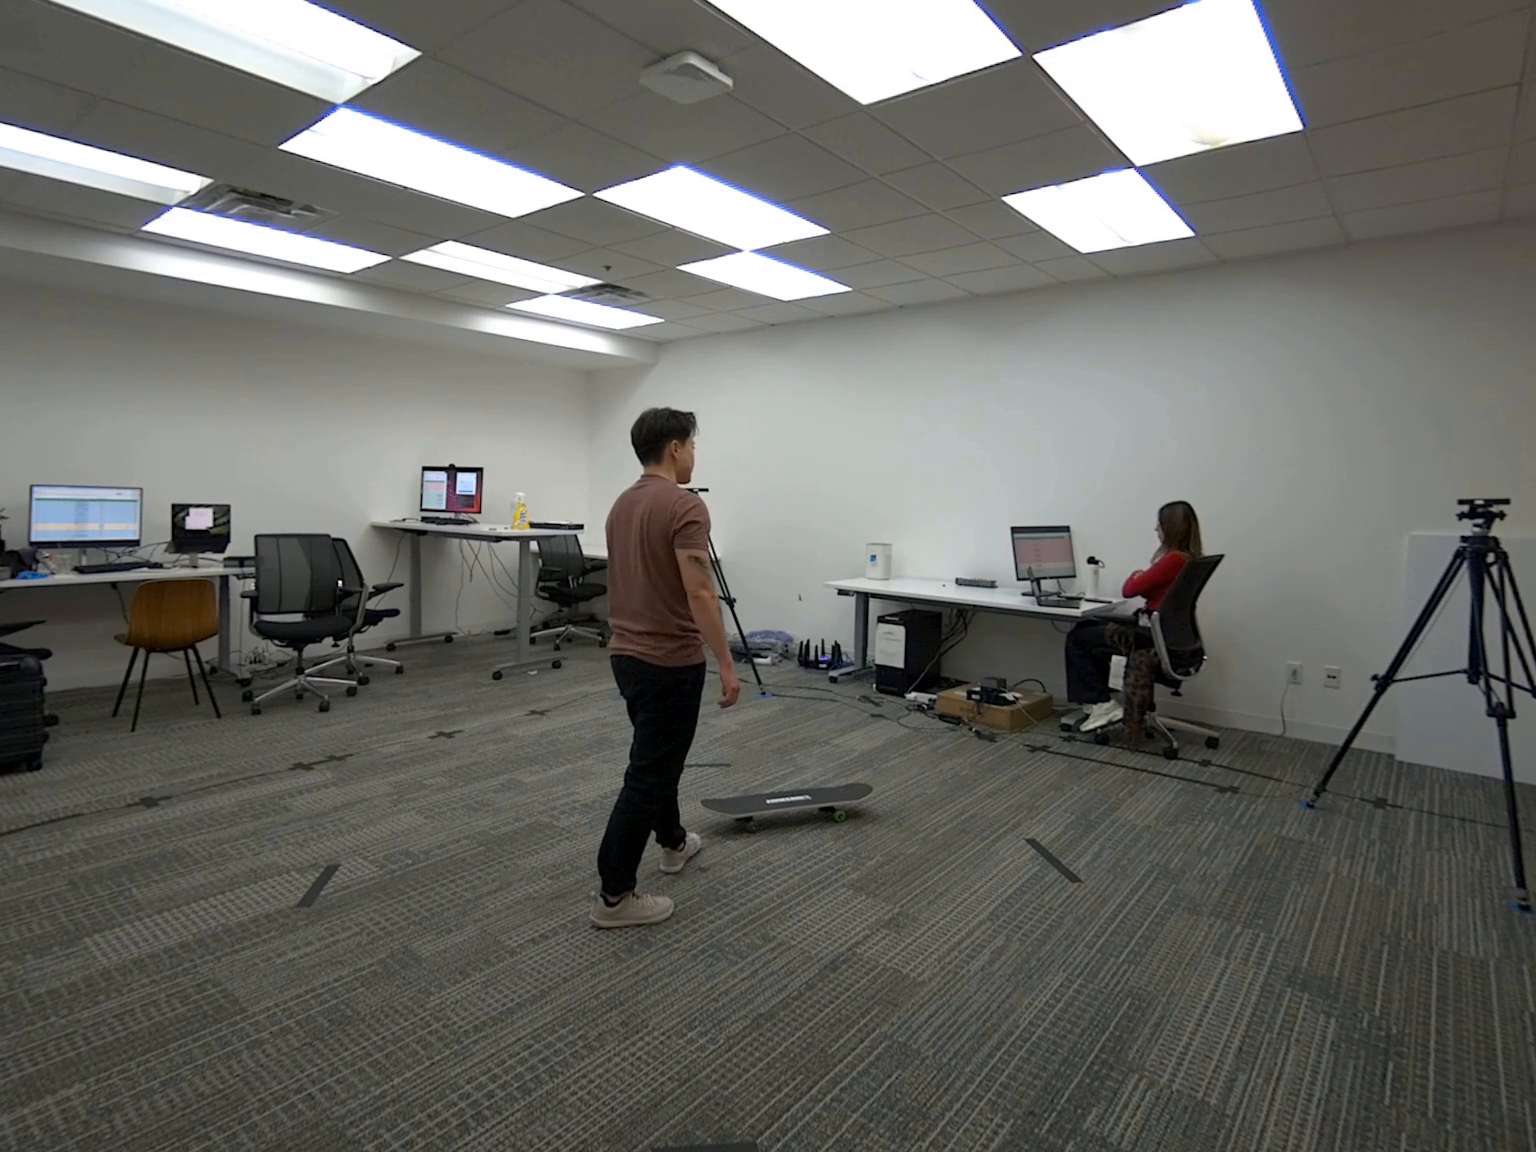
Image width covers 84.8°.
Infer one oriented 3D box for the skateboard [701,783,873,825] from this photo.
[{"bbox_3d":[0.082,0.976,3.595,0.770,0.110,0.198,-1,5,-19],"label":"skateboard"}]
